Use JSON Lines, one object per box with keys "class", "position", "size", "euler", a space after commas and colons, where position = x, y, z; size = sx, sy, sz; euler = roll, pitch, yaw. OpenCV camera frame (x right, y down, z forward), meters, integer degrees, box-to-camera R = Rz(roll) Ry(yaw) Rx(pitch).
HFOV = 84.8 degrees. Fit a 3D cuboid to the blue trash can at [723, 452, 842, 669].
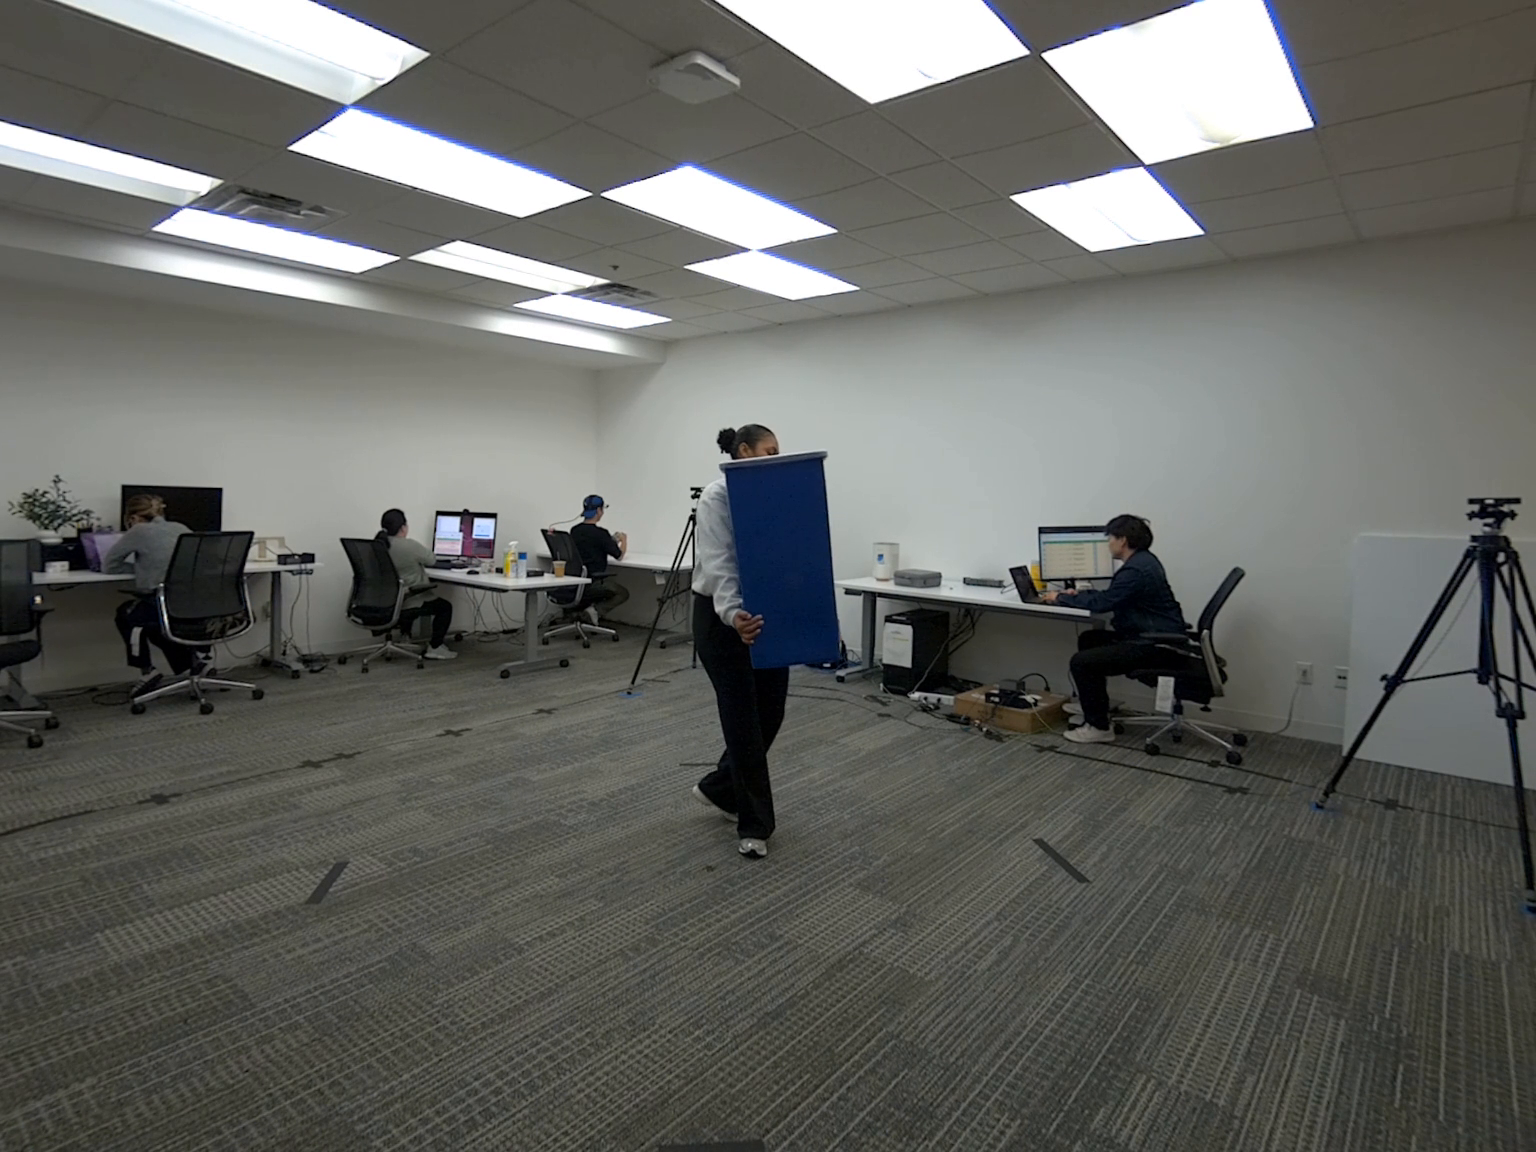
{"class": "blue trash can", "position": [0.037, -0.066, 3.032], "size": [0.375, 0.713, 0.377], "euler": [-5, 1, 3]}
